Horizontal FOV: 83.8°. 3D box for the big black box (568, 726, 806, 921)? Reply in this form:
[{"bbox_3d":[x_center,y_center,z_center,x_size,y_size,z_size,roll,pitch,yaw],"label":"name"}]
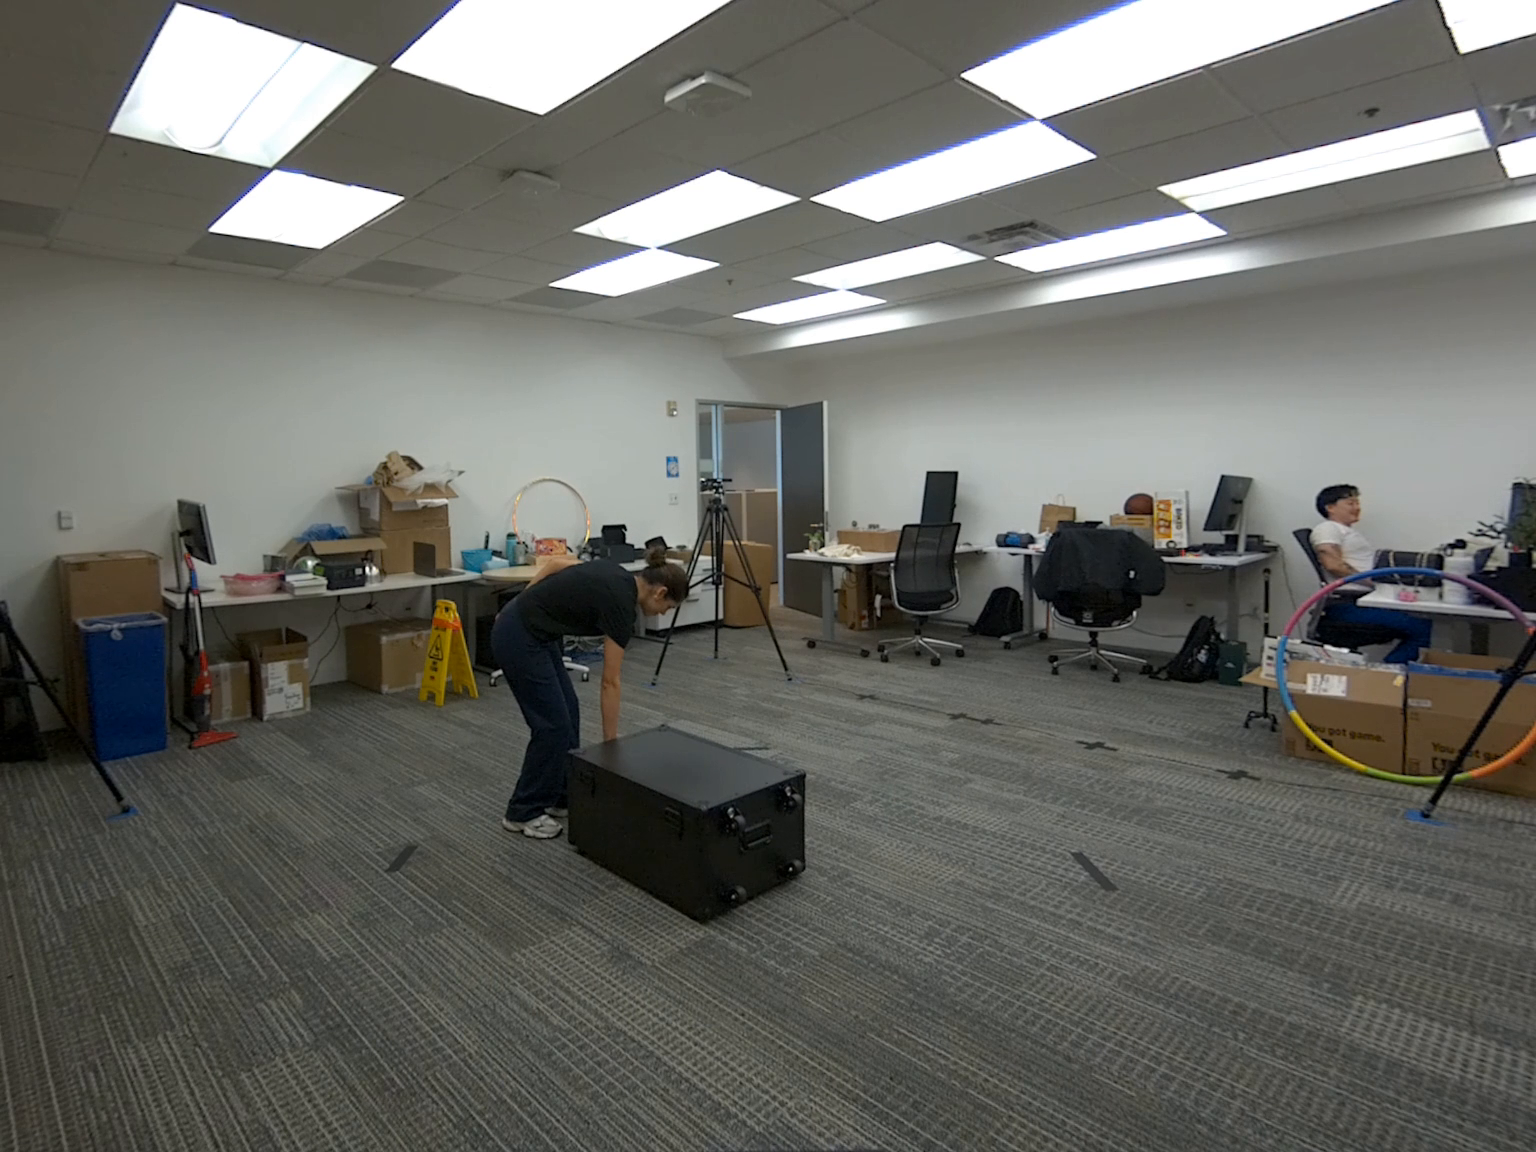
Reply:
[{"bbox_3d":[-0.293,0.859,3.089,0.508,0.394,0.888,-7,8,-44],"label":"big black box"}]
